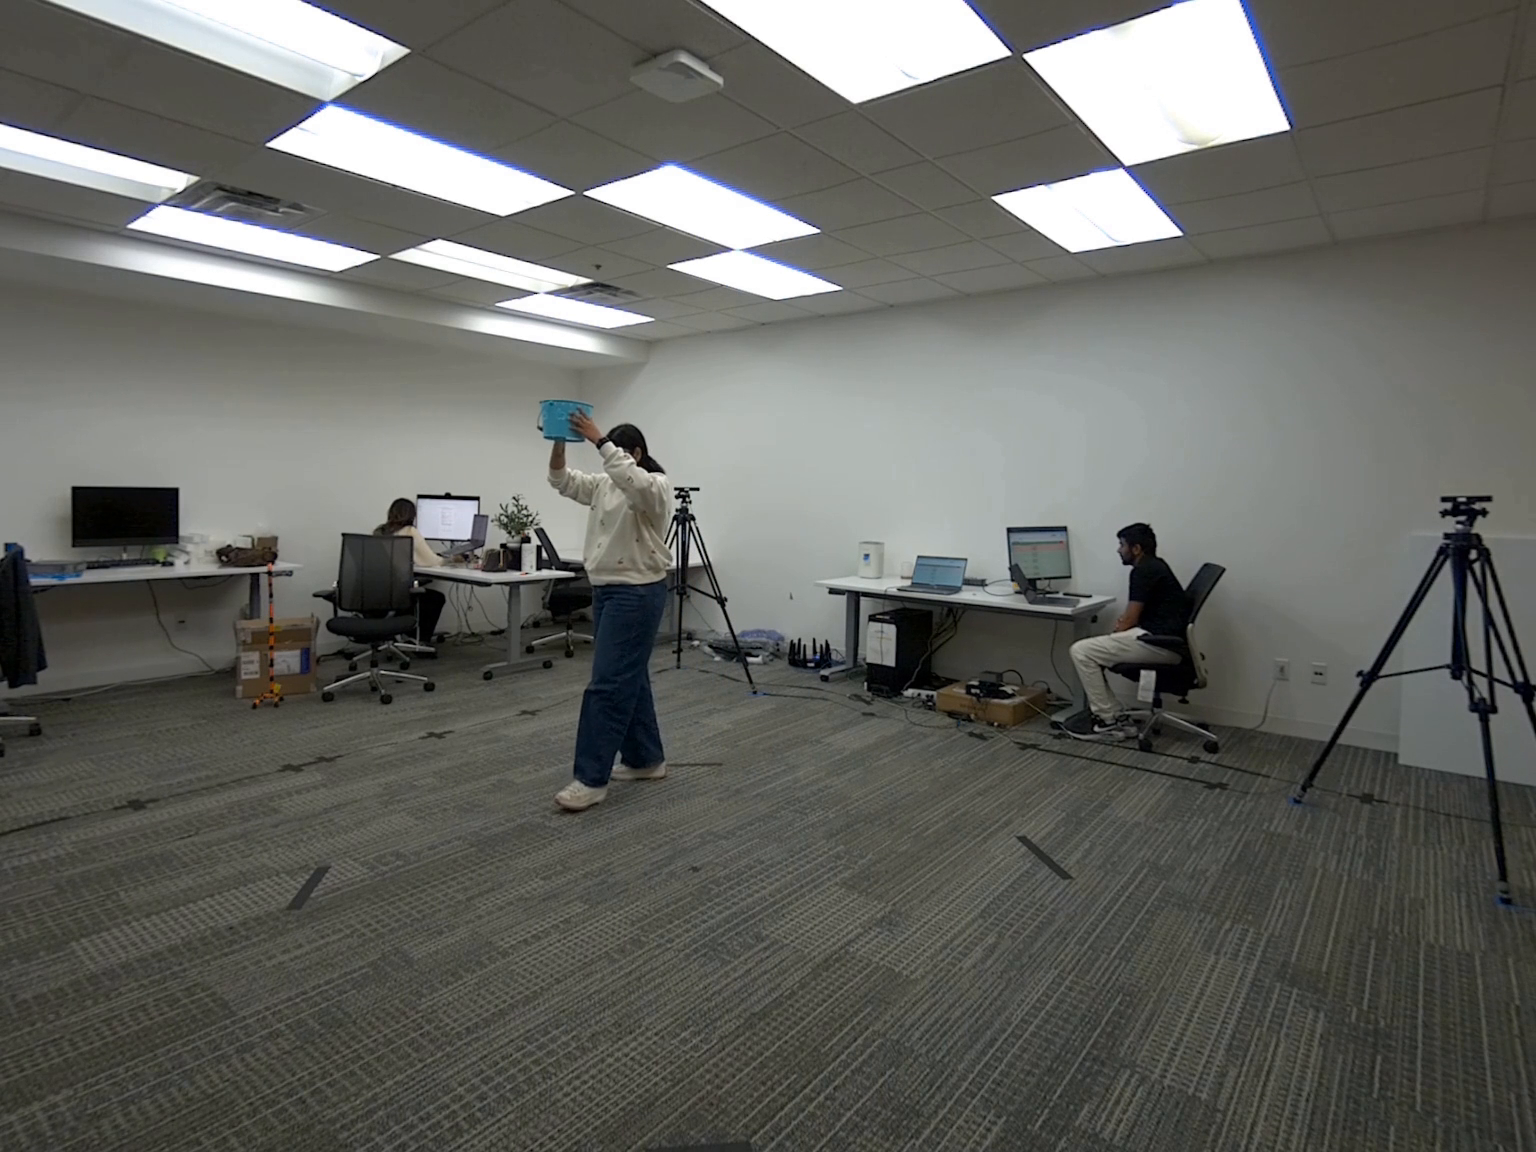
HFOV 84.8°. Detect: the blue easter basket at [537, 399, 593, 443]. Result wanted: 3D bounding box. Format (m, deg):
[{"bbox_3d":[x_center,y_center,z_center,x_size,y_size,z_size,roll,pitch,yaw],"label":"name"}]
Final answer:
[{"bbox_3d":[-0.897,-0.679,3.678,0.243,0.156,0.244,6,0,-2],"label":"blue easter basket"}]
